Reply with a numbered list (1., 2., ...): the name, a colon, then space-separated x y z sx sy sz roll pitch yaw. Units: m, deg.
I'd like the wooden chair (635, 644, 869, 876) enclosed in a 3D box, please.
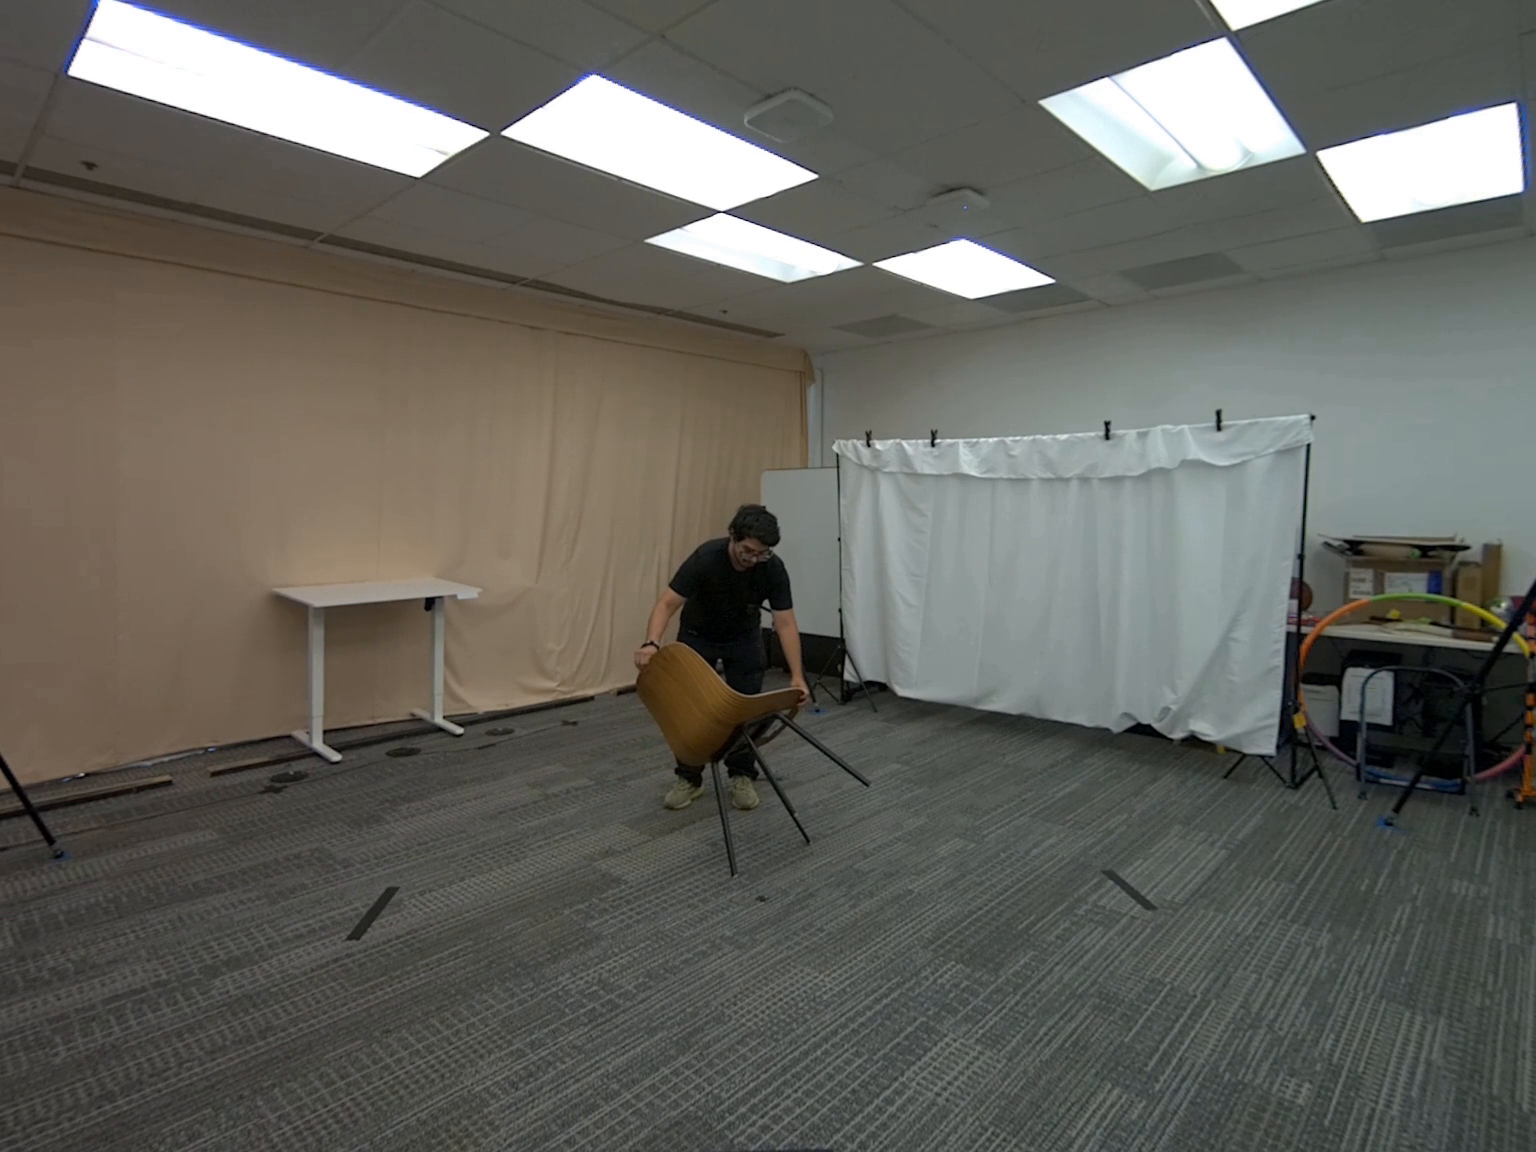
1. wooden chair: -0.086 0.650 3.395 0.508 0.479 0.901 -9 52 -48
